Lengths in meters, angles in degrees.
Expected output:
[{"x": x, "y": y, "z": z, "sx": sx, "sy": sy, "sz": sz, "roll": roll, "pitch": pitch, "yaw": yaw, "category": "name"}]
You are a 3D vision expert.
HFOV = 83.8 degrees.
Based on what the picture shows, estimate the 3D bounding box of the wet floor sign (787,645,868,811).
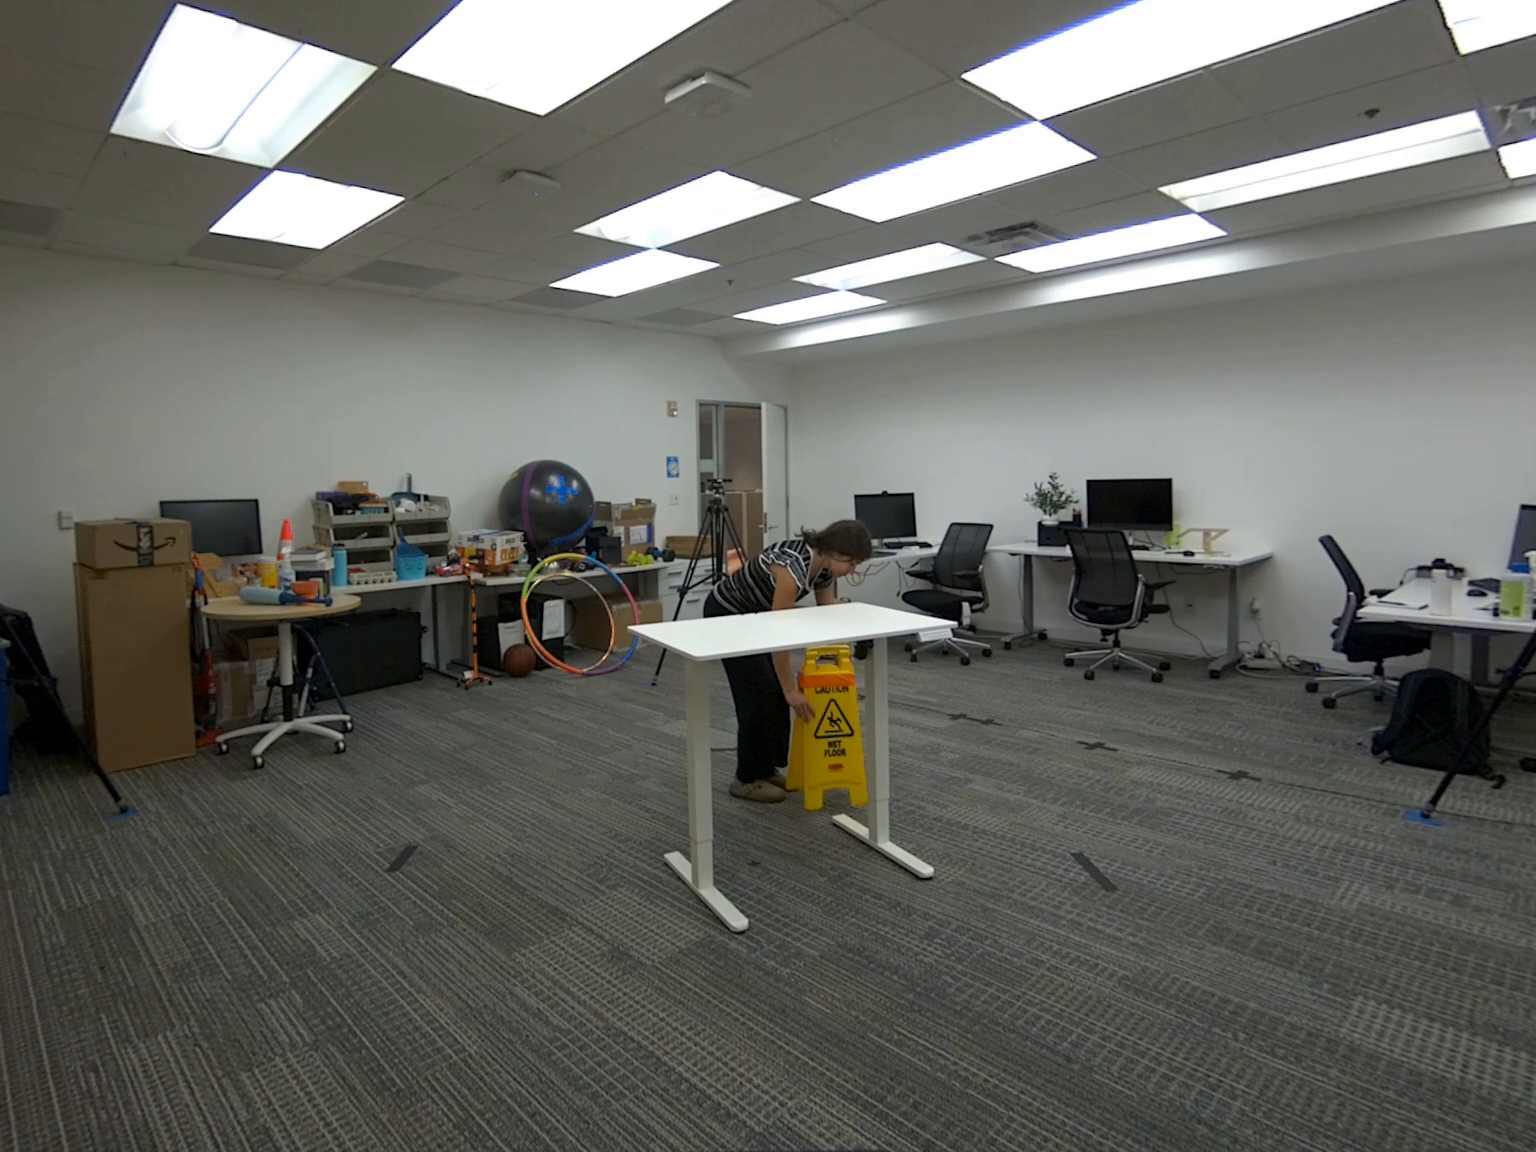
[{"x": 0.252, "y": 0.610, "z": 3.645, "sx": 0.278, "sy": 0.644, "sz": 0.295, "roll": -1, "pitch": 4, "yaw": -15, "category": "wet floor sign"}]
